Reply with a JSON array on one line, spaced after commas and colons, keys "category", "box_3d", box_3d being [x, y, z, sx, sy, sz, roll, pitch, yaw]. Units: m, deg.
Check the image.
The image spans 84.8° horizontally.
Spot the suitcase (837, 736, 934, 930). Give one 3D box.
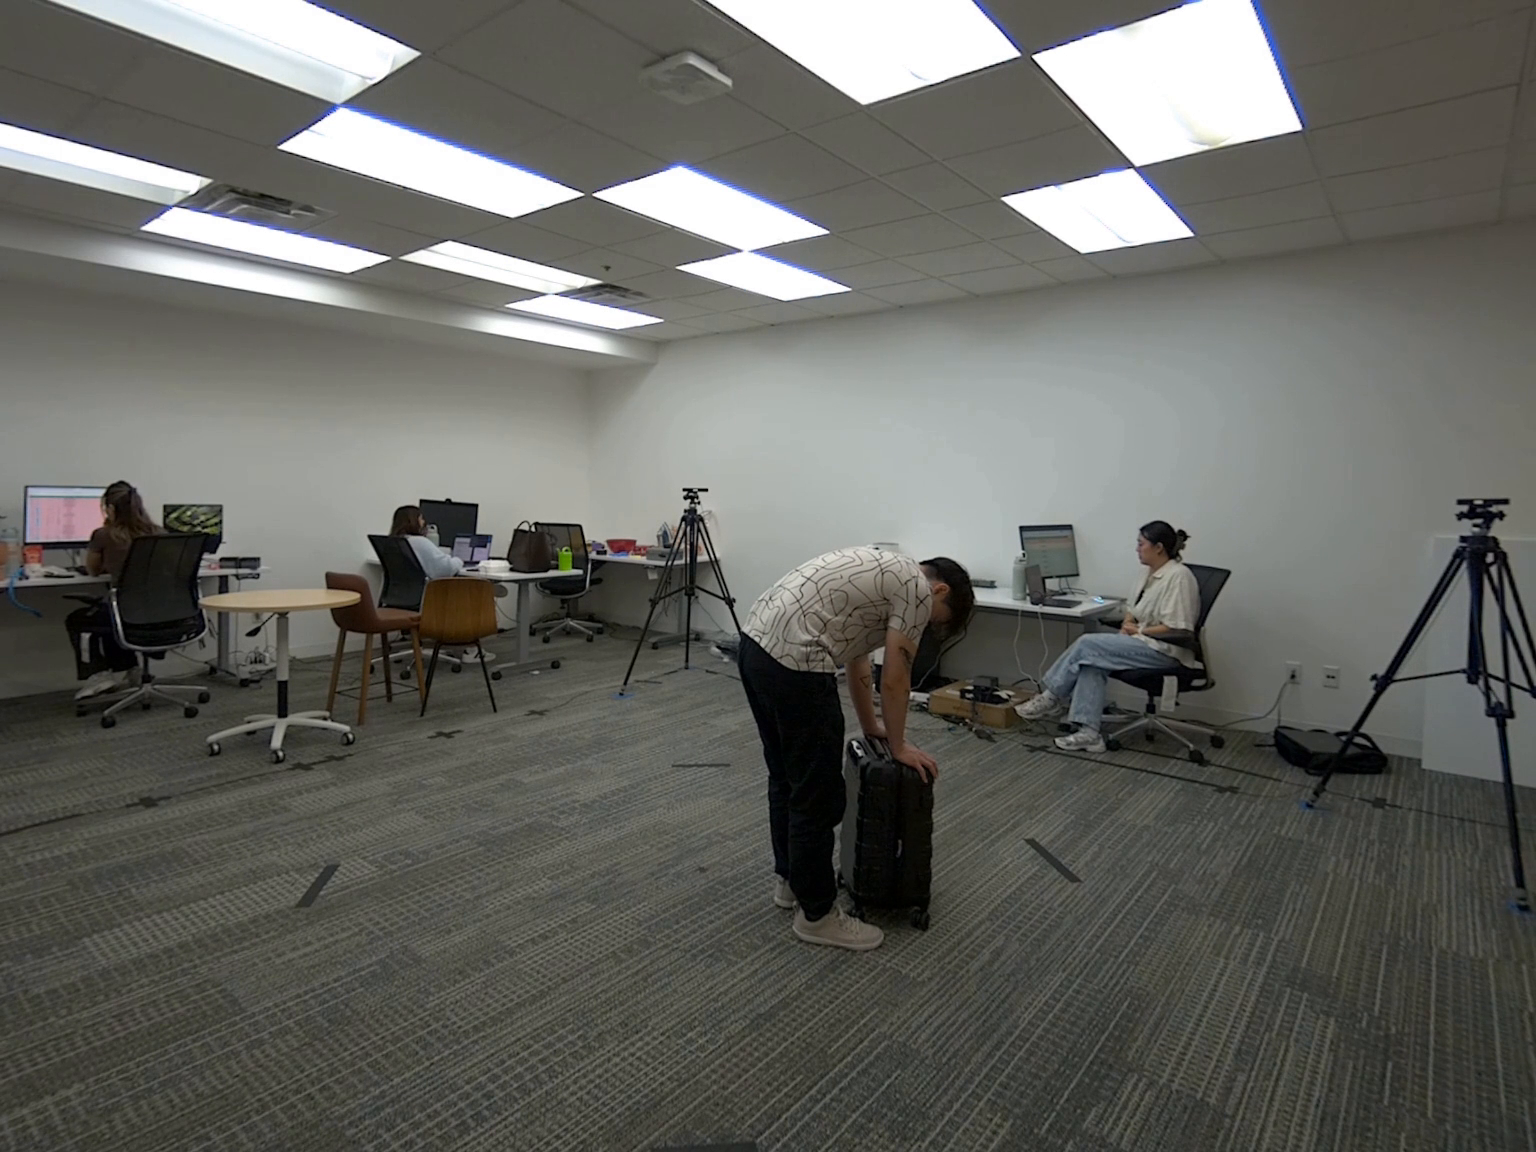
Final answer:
[{"category": "suitcase", "box_3d": [0.397, 0.835, 2.877, 0.248, 0.548, 0.377, 4, 2, -4]}]
